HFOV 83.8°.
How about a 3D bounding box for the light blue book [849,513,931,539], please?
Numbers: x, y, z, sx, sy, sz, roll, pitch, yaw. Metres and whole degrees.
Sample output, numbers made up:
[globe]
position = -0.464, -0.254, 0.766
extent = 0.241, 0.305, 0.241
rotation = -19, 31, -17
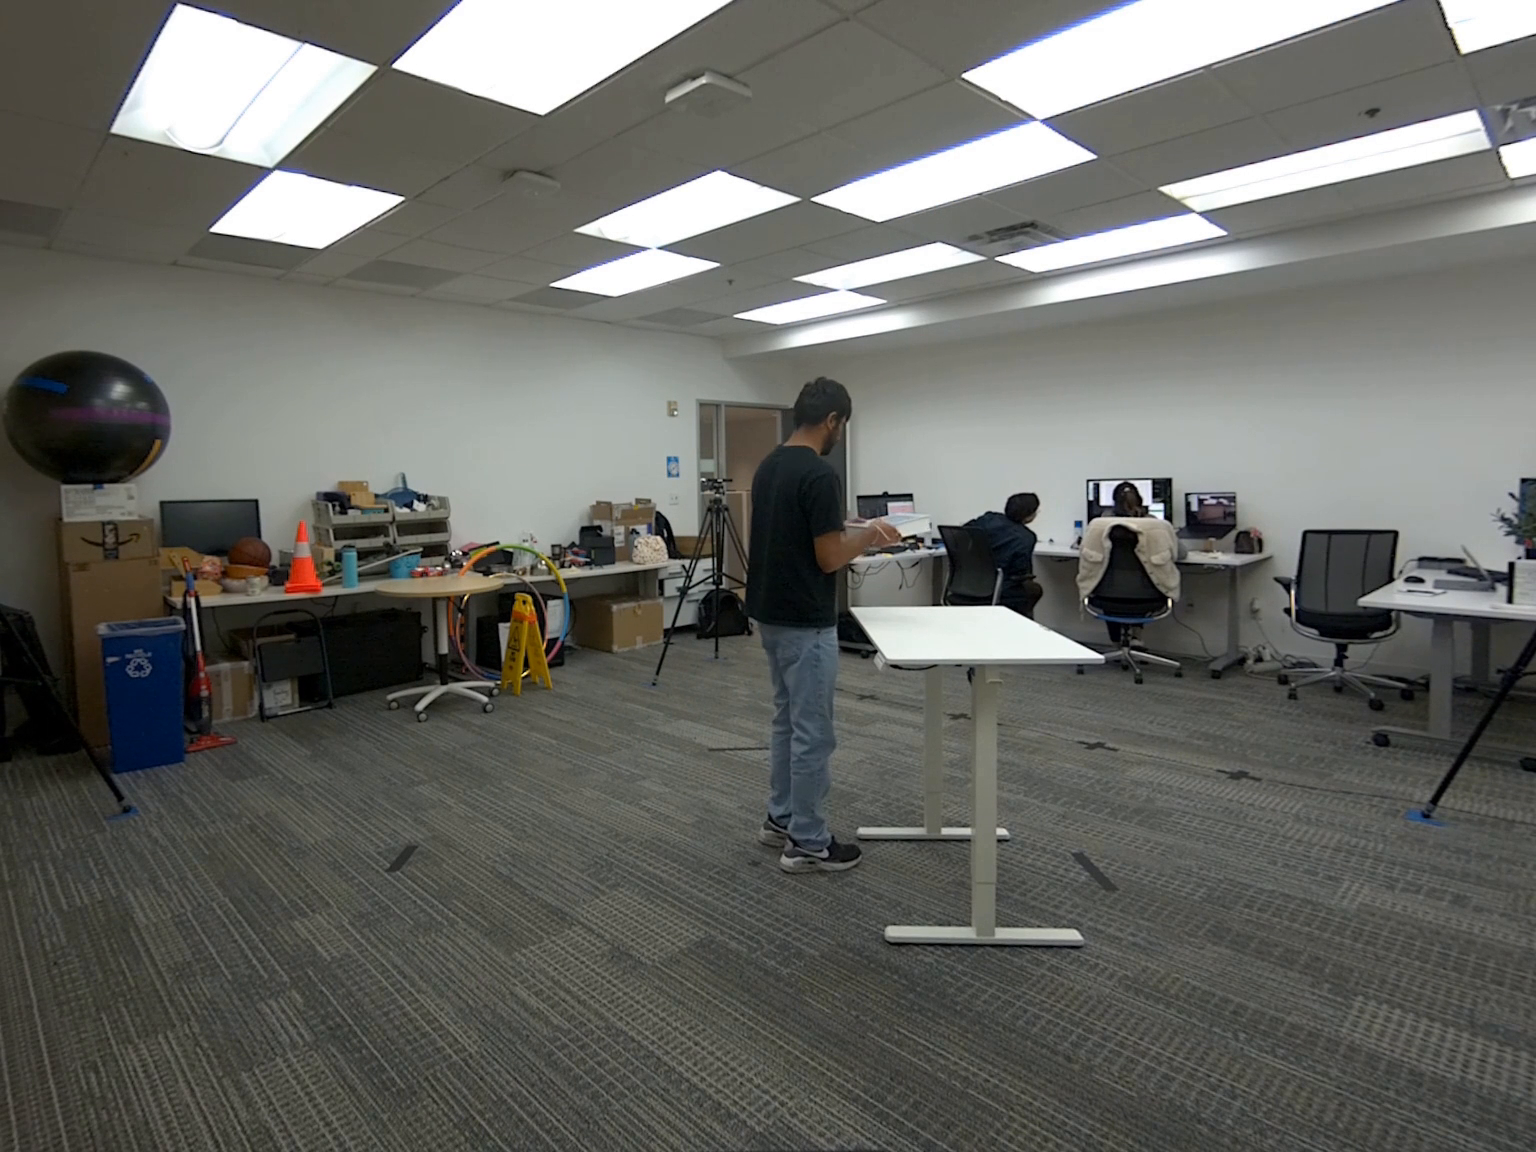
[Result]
[light blue book]
position = 0.445, -0.183, 3.233
extent = 0.256, 0.058, 0.197
rotation = -13, 13, -26
